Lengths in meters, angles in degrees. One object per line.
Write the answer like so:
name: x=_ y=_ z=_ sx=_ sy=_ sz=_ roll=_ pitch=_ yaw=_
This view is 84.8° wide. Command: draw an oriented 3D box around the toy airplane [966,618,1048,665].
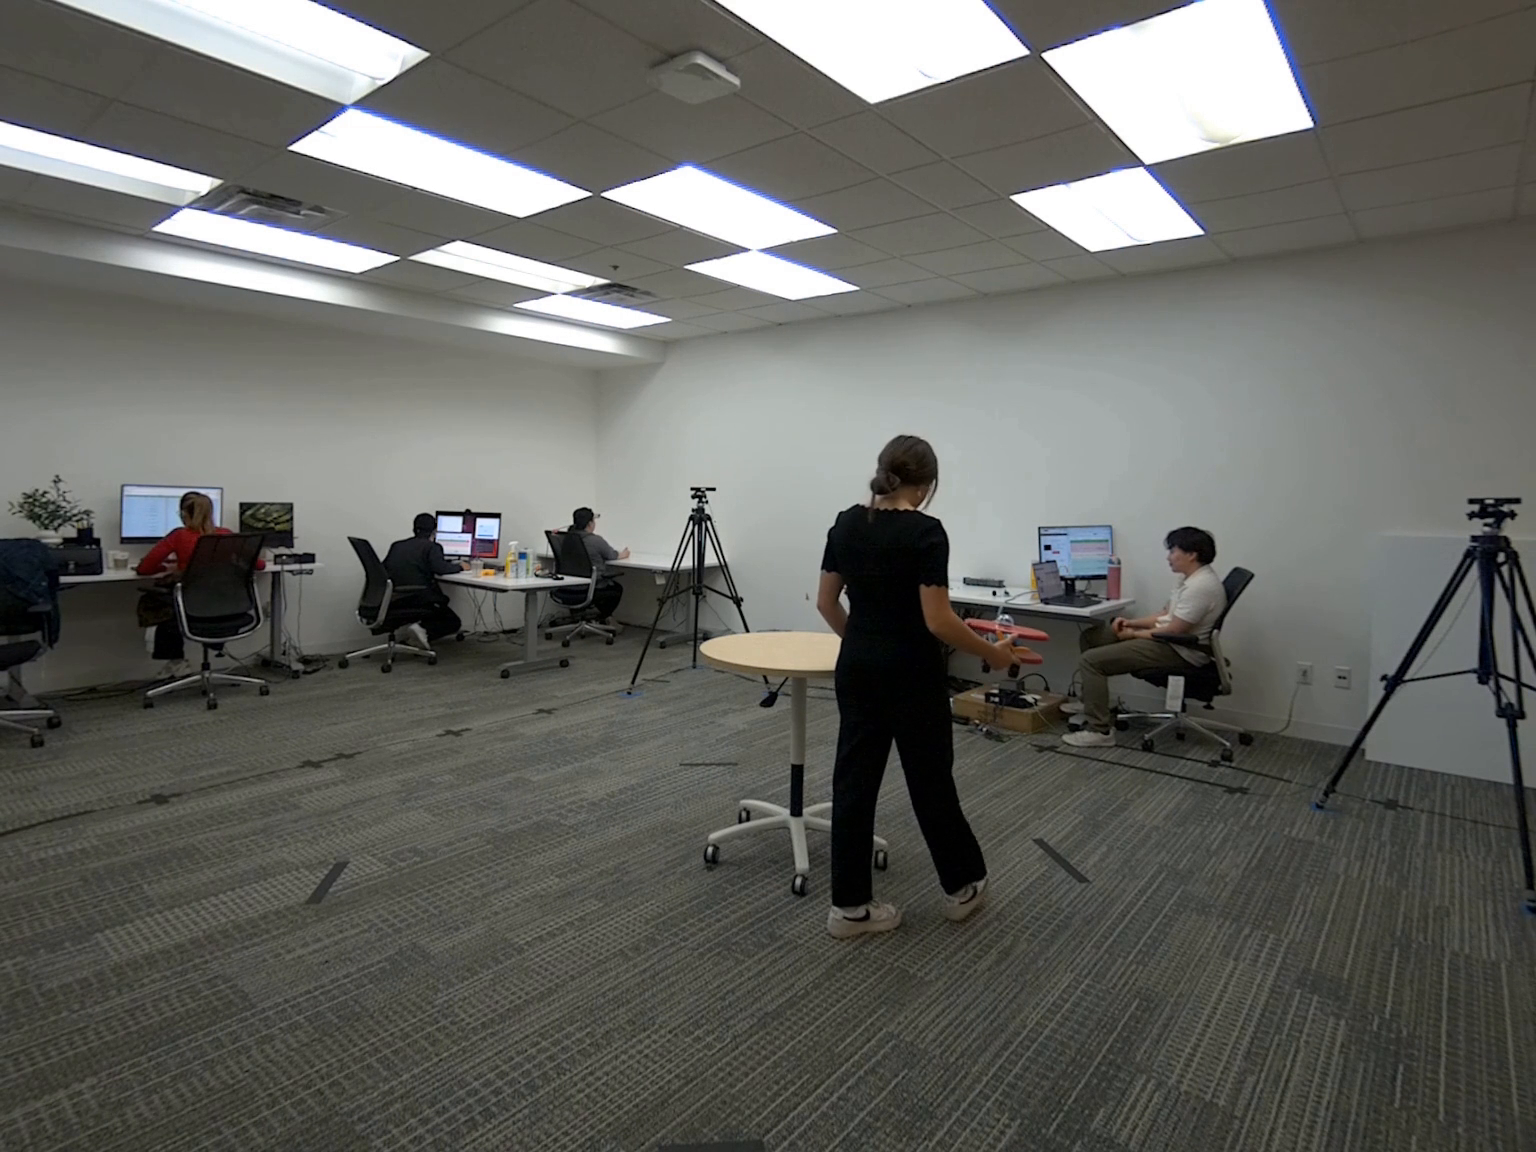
toy airplane: x=0.737 y=0.207 z=2.785 sx=0.247 sy=0.153 sz=0.270 roll=-7 pitch=35 yaw=-18
